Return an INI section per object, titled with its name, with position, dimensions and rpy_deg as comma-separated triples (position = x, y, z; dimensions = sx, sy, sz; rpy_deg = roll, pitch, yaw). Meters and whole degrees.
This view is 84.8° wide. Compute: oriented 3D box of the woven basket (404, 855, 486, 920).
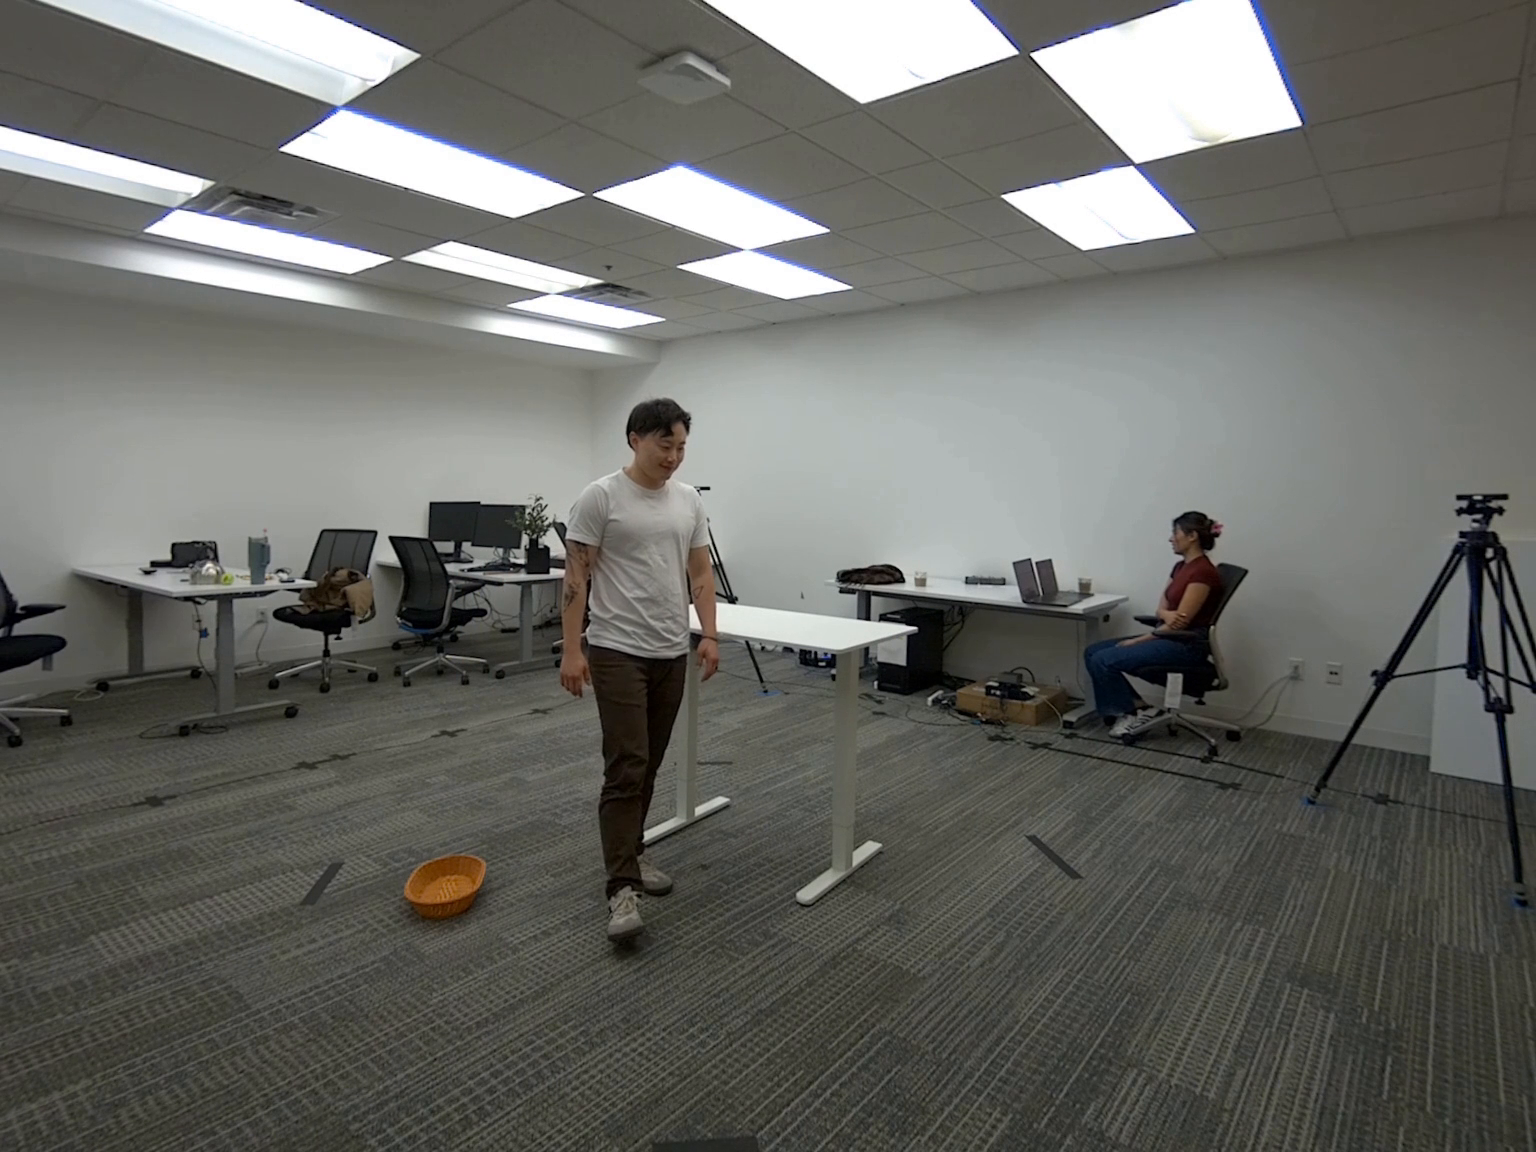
[woven basket]
position = -1.095, 1.045, 2.860
dimensions = 0.251, 0.073, 0.354
rpy_deg = -2, 6, -5
